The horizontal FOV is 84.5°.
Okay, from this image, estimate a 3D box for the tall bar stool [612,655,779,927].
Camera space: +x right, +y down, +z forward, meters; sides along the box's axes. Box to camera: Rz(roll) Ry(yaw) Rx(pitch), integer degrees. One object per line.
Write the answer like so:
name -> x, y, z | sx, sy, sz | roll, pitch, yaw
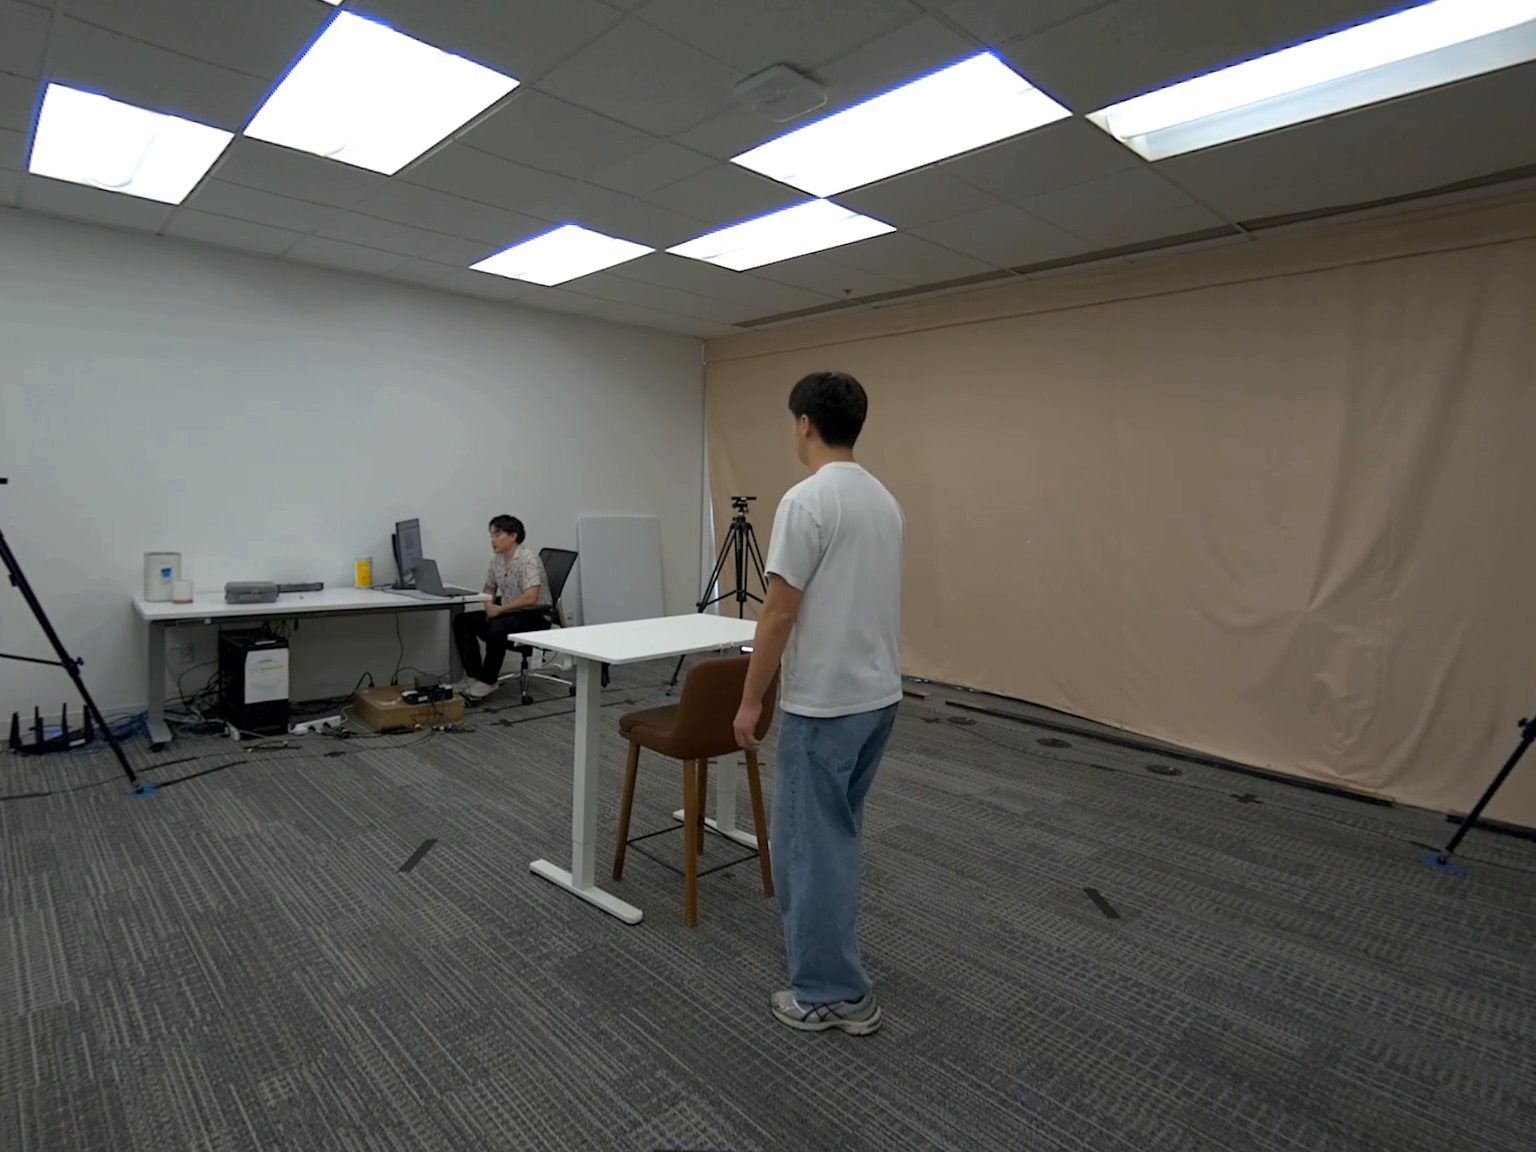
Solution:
tall bar stool -> -0.250, 0.679, 2.967 | 0.446, 0.886, 0.480 | -2, 8, -41
